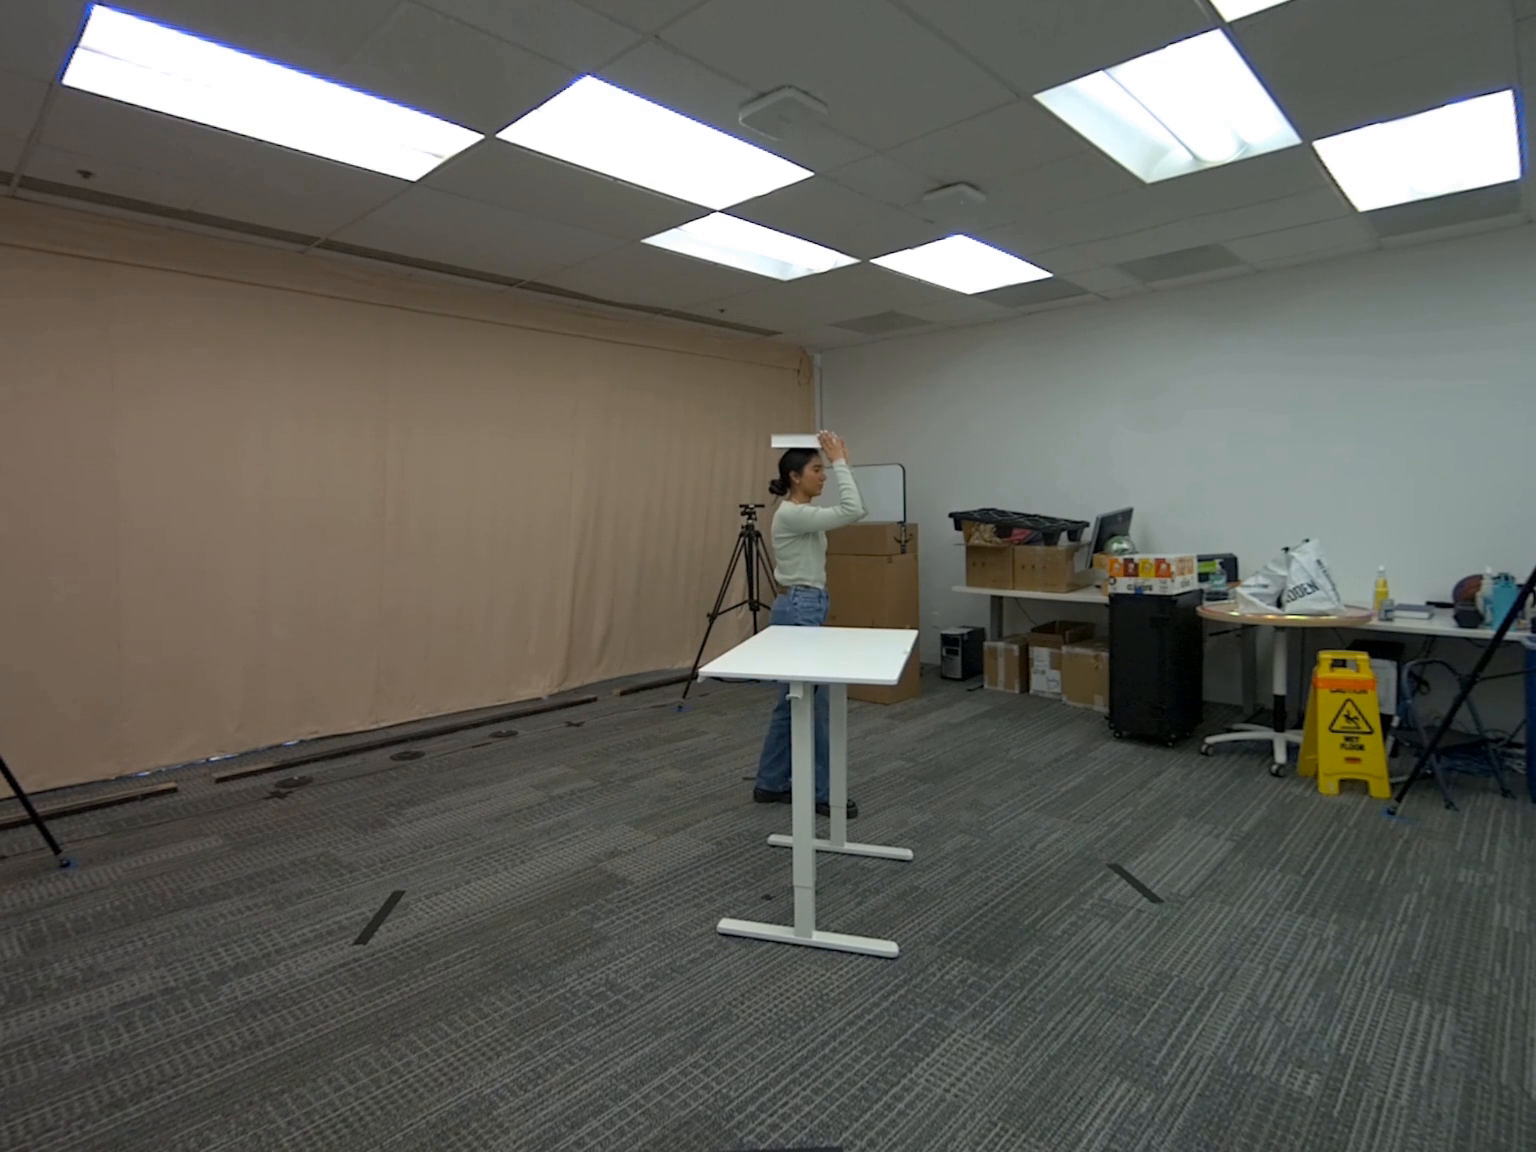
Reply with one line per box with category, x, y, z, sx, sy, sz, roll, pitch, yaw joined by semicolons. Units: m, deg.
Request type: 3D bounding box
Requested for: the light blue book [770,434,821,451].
light blue book;0.161;-0.606;3.819;0.265;0.059;0.189;2;5;15
